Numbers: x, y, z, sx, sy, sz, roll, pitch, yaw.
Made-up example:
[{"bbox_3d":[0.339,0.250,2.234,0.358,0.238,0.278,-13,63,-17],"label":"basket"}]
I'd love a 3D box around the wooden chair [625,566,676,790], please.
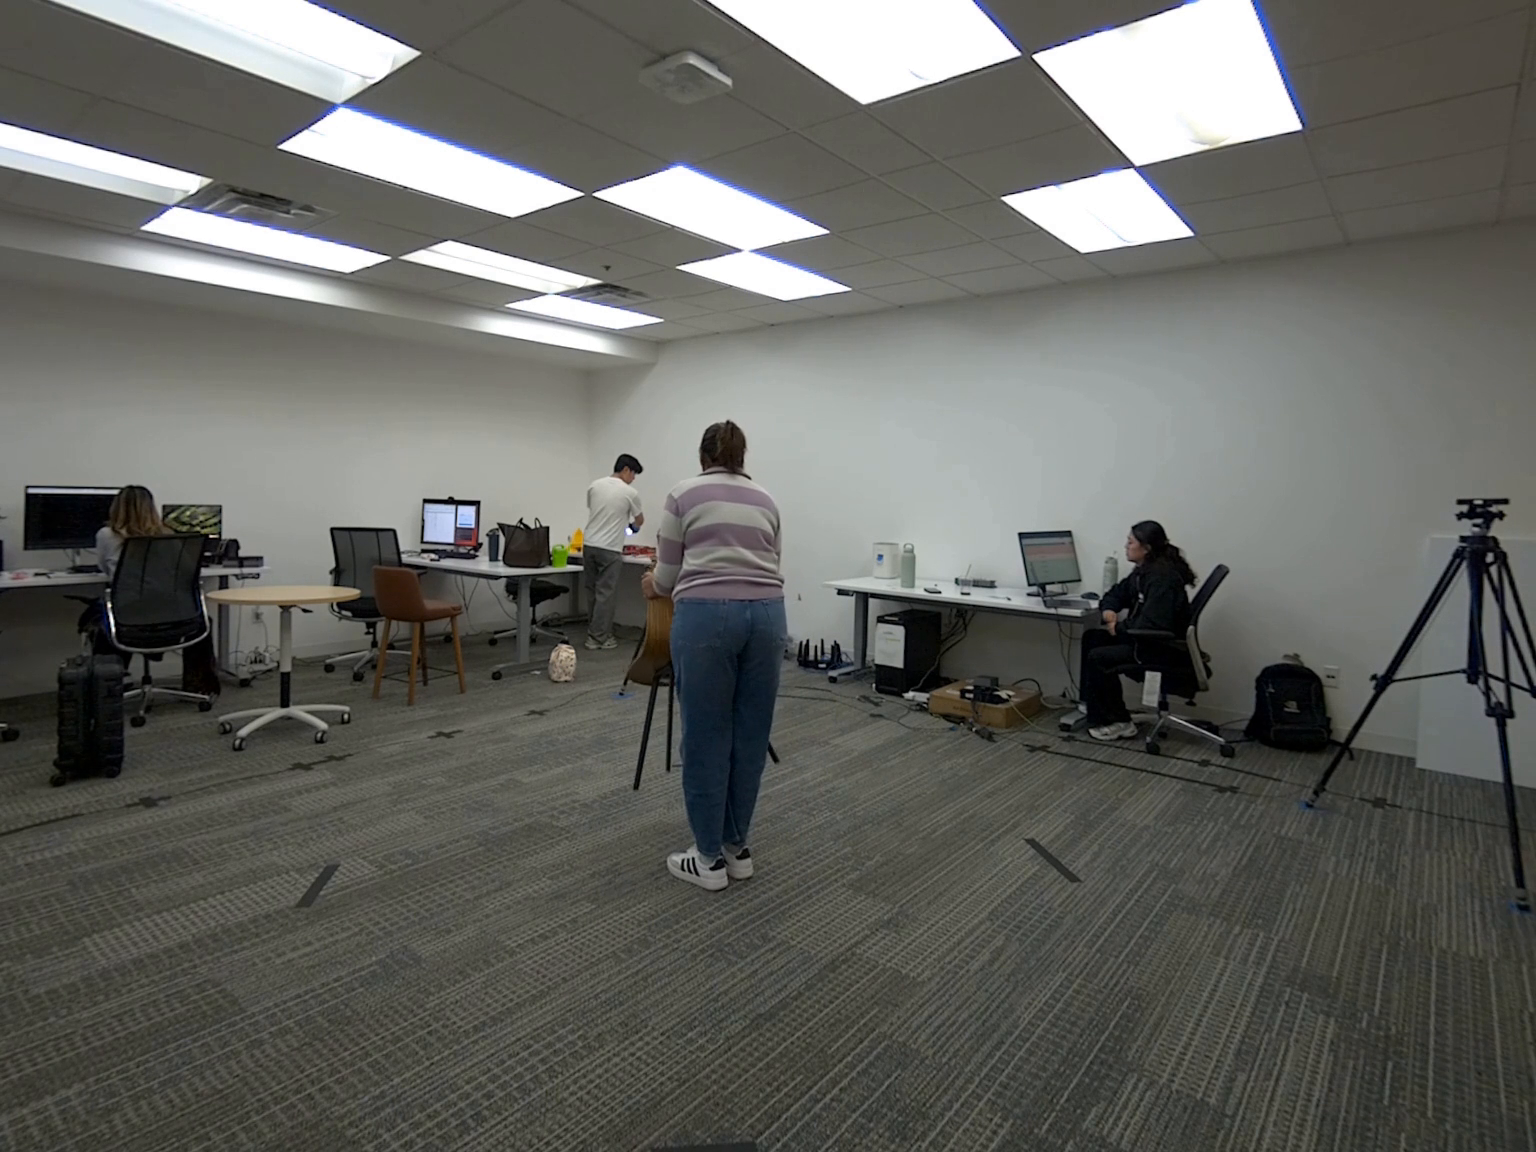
[{"bbox_3d":[-0.337,0.387,3.482,0.467,0.895,0.525,1,-20,-23],"label":"wooden chair"}]
